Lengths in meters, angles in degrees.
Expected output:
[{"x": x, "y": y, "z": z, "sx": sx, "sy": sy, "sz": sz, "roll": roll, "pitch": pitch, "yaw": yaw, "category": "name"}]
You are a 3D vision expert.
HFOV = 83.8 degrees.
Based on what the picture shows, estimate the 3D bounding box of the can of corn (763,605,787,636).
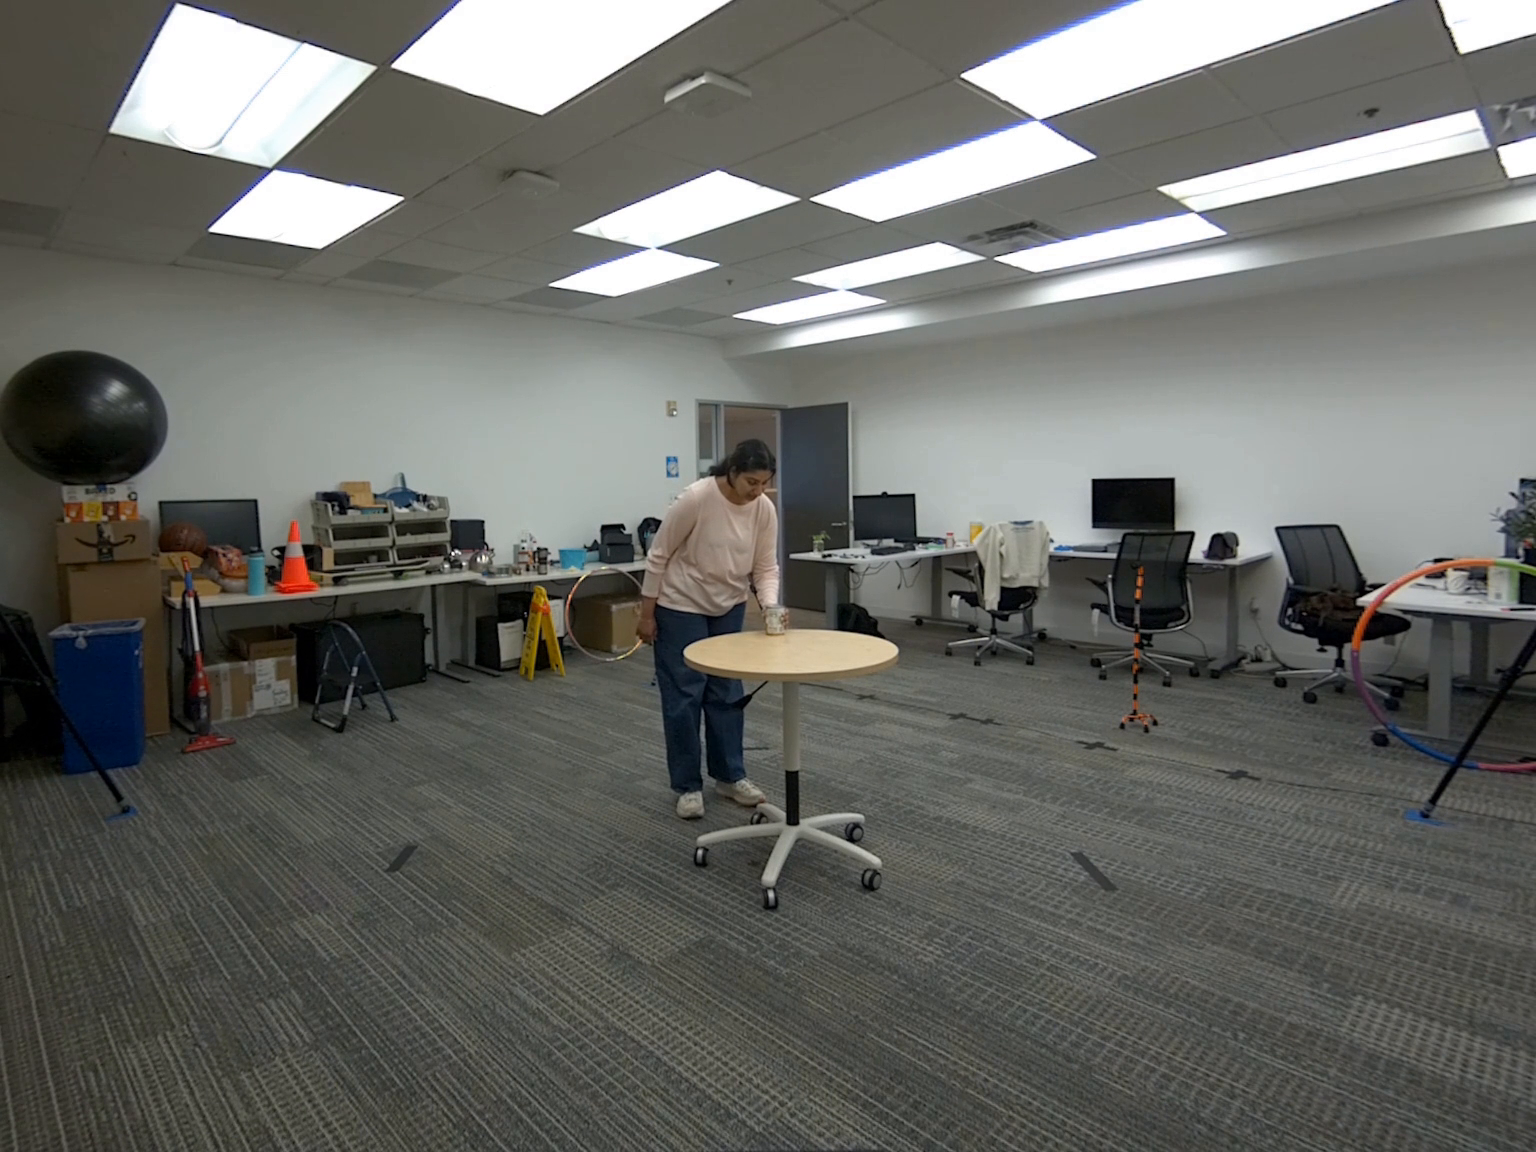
[{"x": 0.024, "y": 0.175, "z": 3.358, "sx": 0.074, "sy": 0.111, "sz": 0.074, "roll": -2, "pitch": 2, "yaw": -2, "category": "can of corn"}]
